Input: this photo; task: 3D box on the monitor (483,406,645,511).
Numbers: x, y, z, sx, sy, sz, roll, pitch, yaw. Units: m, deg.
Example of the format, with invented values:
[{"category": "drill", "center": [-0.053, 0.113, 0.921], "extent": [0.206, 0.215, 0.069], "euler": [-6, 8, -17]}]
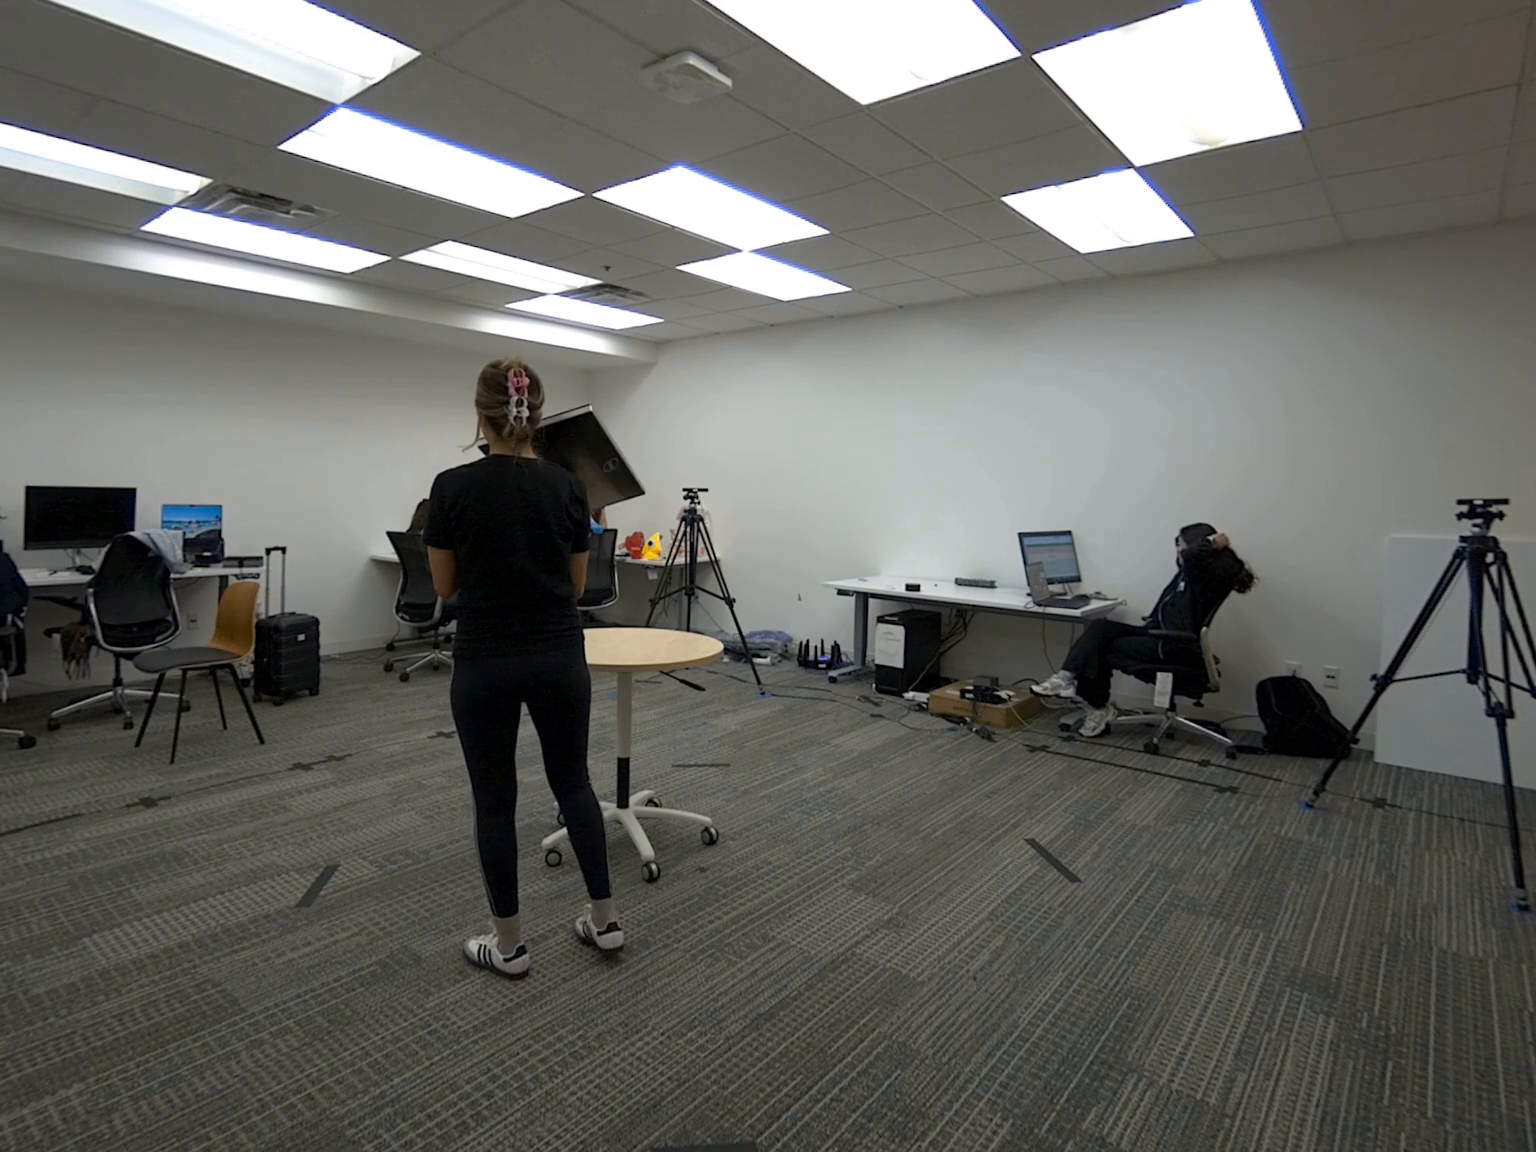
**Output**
[{"category": "monitor", "center": [-0.730, -0.267, 2.728], "extent": [0.522, 0.193, 0.523], "euler": [-29, -22, 0]}]
